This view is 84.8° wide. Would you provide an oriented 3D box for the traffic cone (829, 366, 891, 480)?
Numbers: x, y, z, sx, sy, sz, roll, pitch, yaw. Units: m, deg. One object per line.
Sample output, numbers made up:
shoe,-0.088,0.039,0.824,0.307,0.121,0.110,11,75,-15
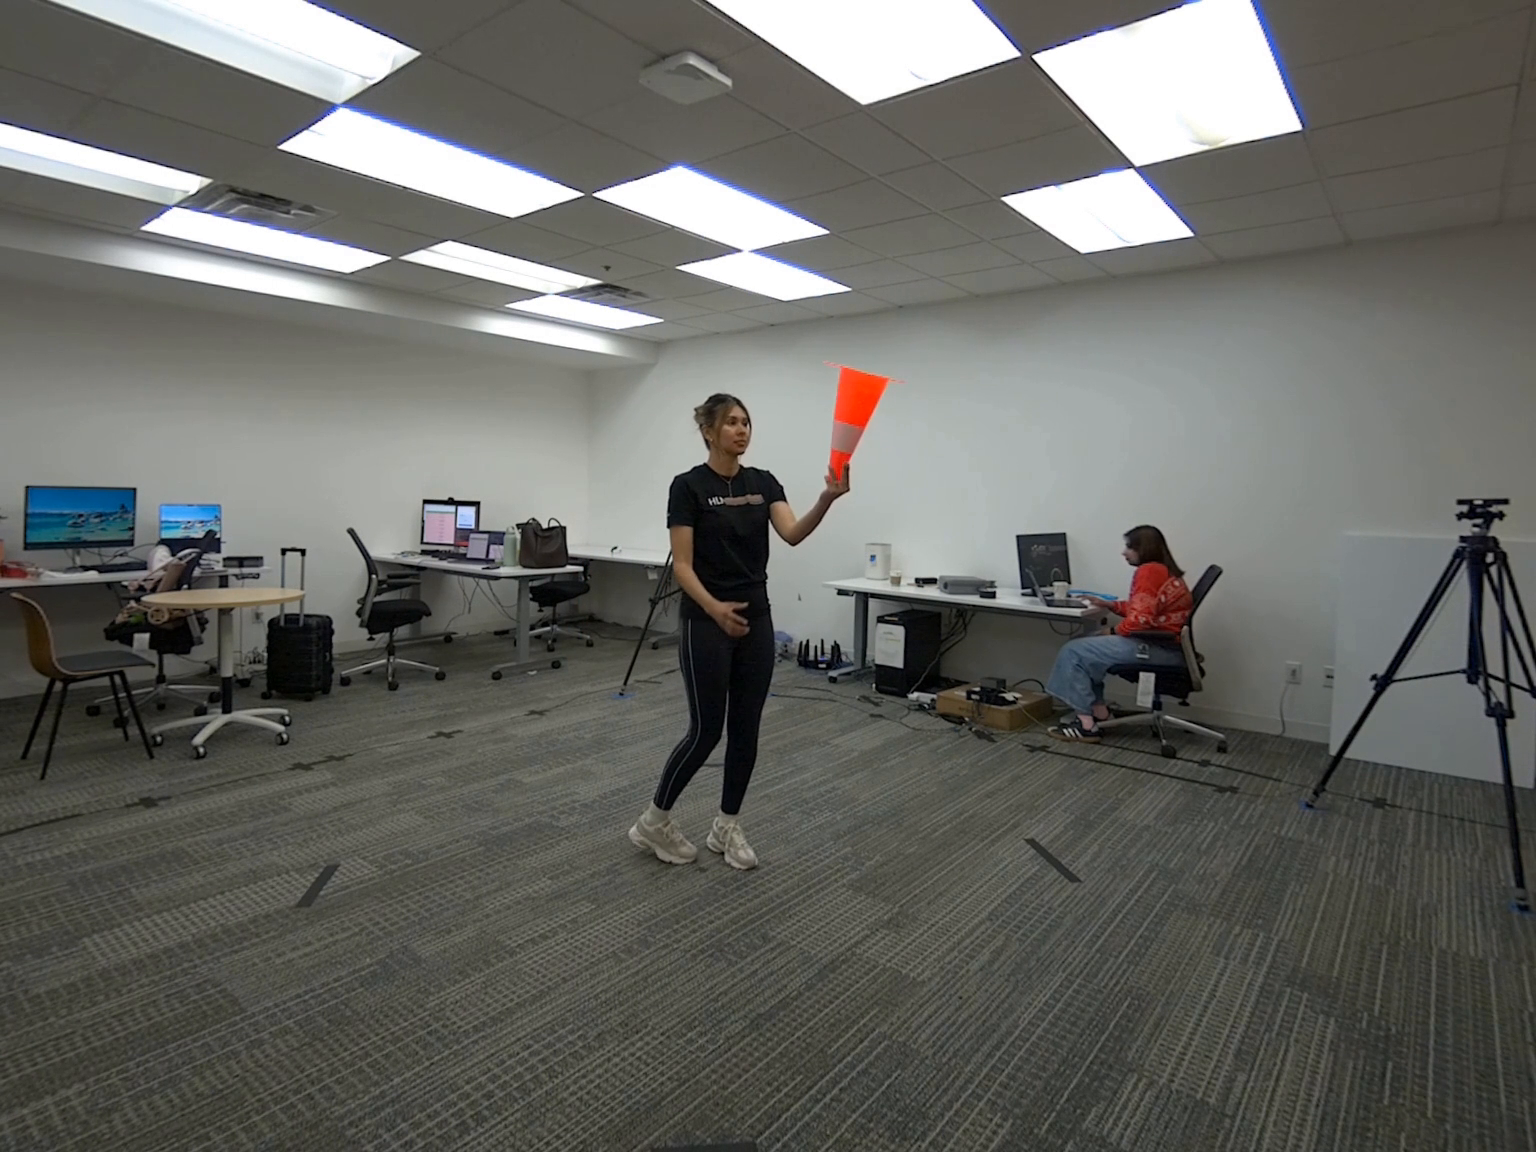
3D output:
traffic cone,0.245,-0.466,2.722,0.196,0.381,0.213,4,14,-41
